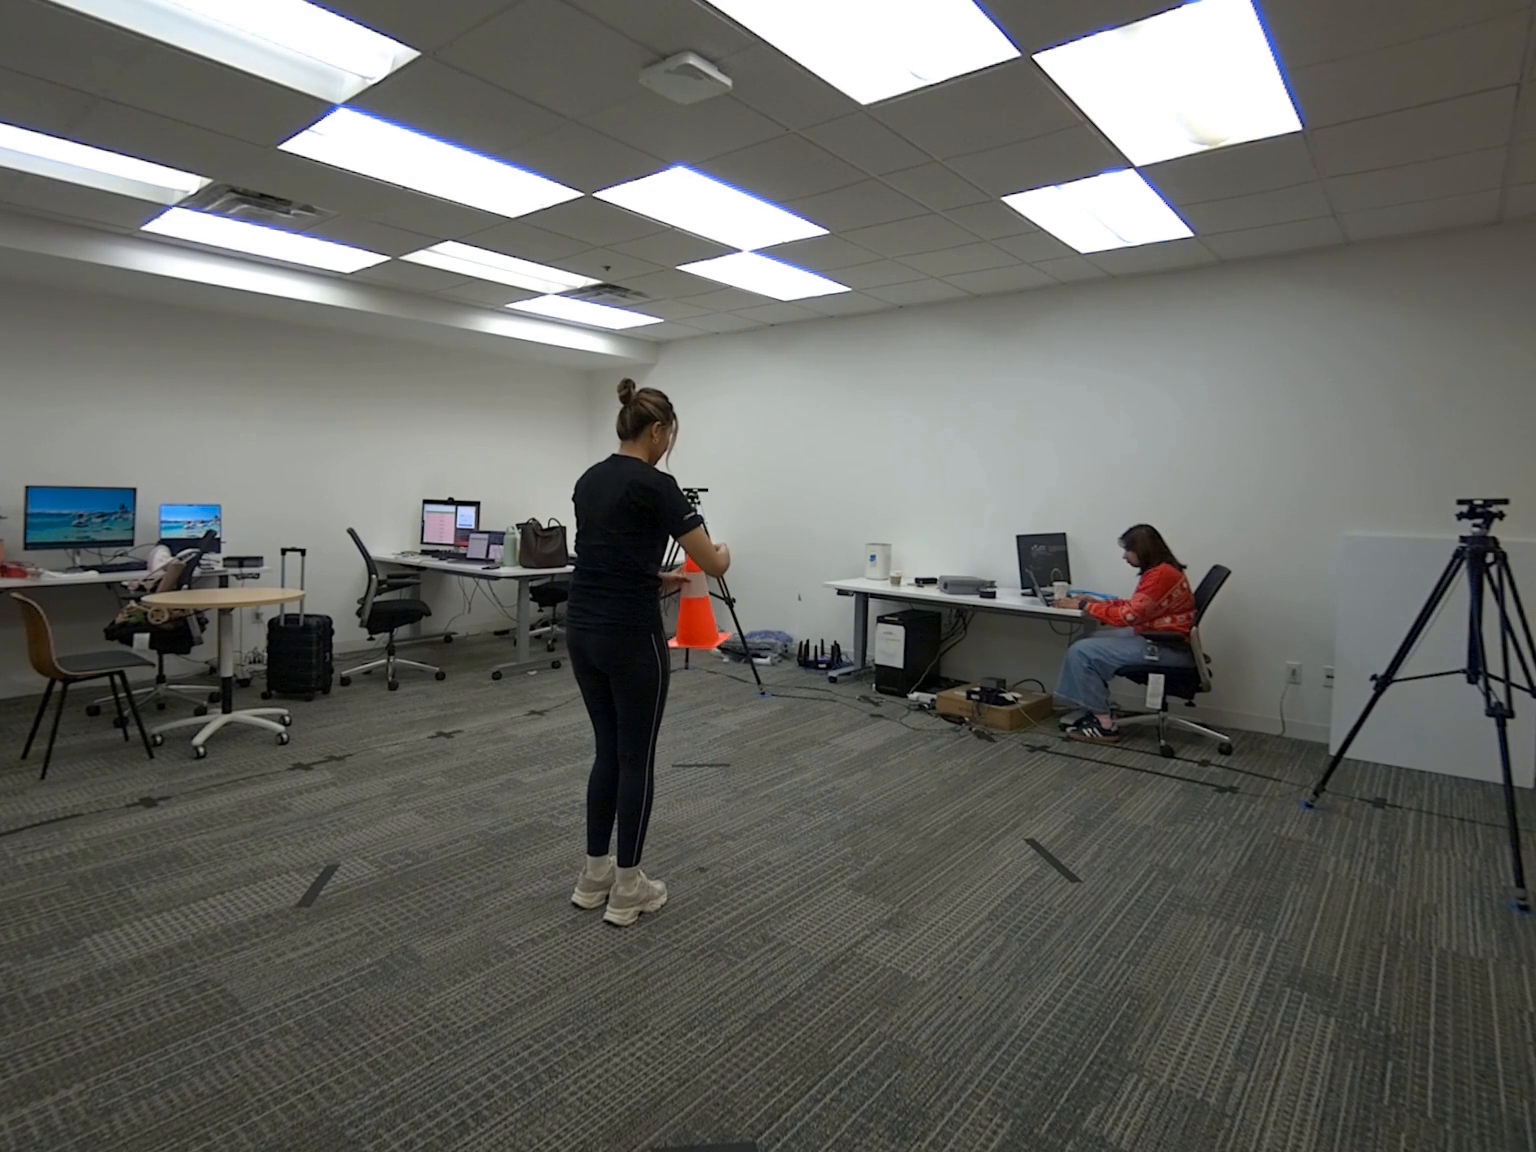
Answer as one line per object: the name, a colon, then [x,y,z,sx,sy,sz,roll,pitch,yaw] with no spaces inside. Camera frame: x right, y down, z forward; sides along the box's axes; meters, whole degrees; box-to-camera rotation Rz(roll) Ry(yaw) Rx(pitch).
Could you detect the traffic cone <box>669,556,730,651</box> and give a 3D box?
traffic cone: [-0.273,0.053,3.060,0.209,0.380,0.201,2,9,26]
